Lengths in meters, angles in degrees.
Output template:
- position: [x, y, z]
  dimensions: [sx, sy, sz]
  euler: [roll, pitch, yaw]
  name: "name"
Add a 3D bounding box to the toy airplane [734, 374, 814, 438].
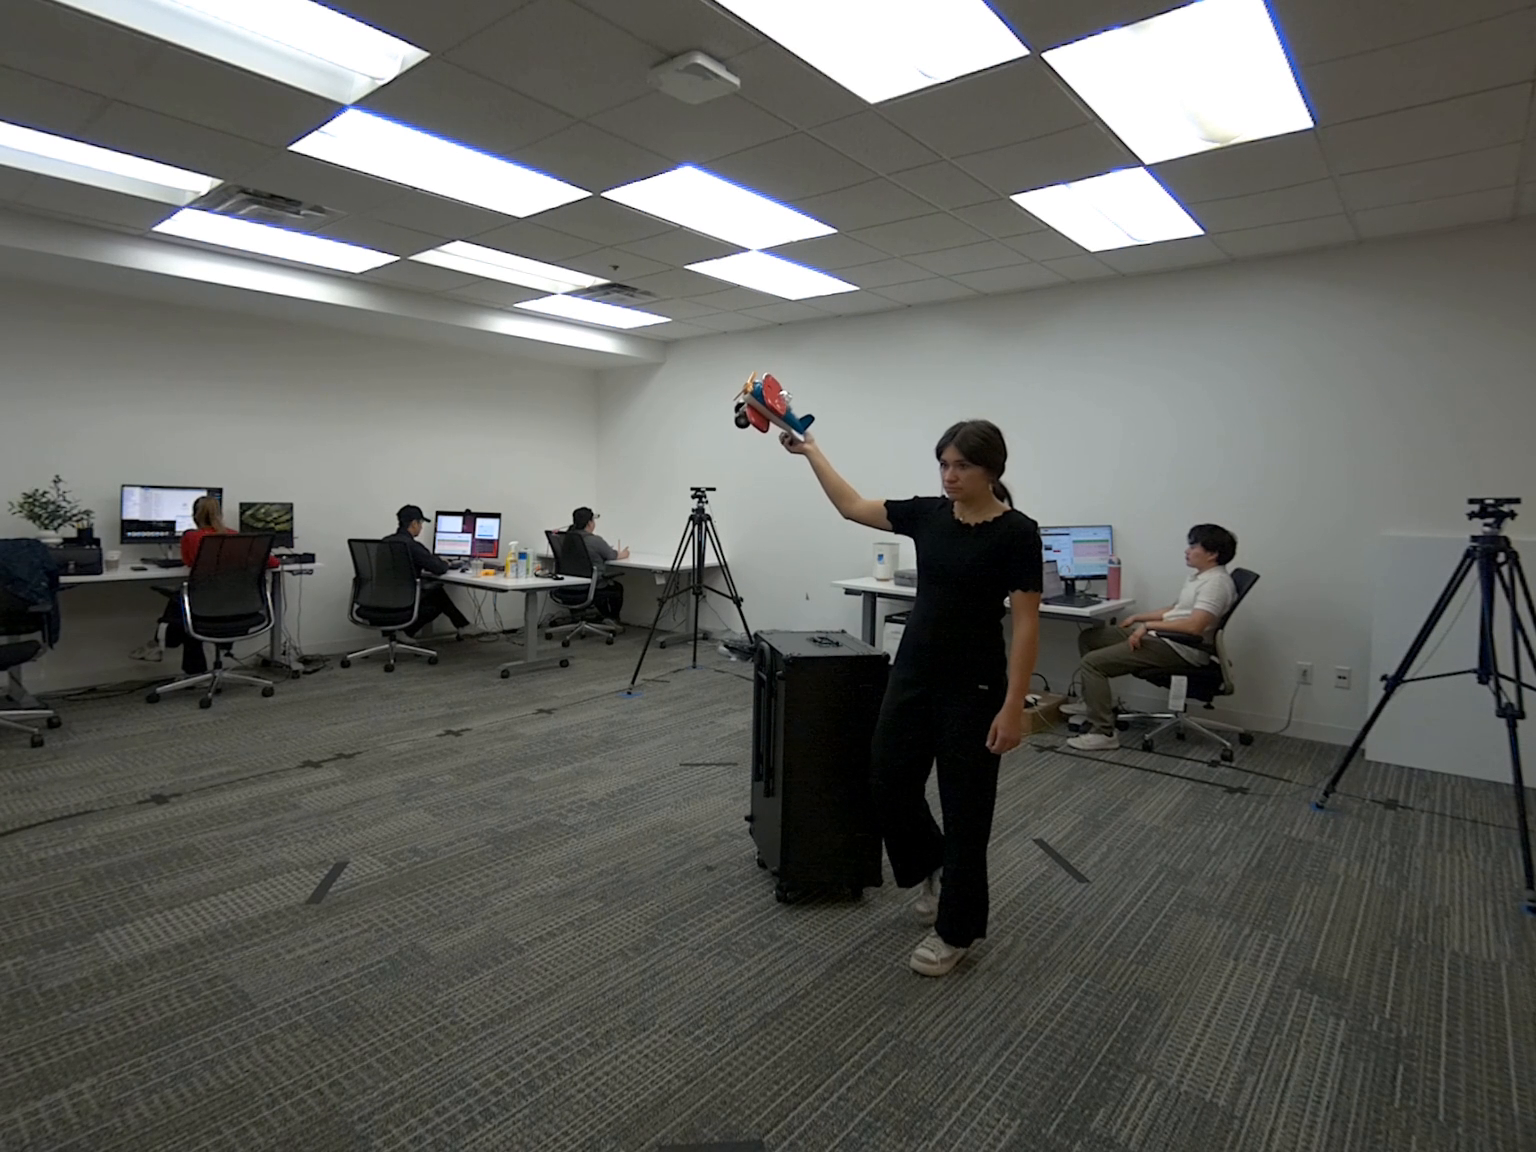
- position: [-0.002, -0.544, 2.788]
  dimensions: [0.251, 0.155, 0.261]
  euler: [6, 39, -37]
  name: "toy airplane"
